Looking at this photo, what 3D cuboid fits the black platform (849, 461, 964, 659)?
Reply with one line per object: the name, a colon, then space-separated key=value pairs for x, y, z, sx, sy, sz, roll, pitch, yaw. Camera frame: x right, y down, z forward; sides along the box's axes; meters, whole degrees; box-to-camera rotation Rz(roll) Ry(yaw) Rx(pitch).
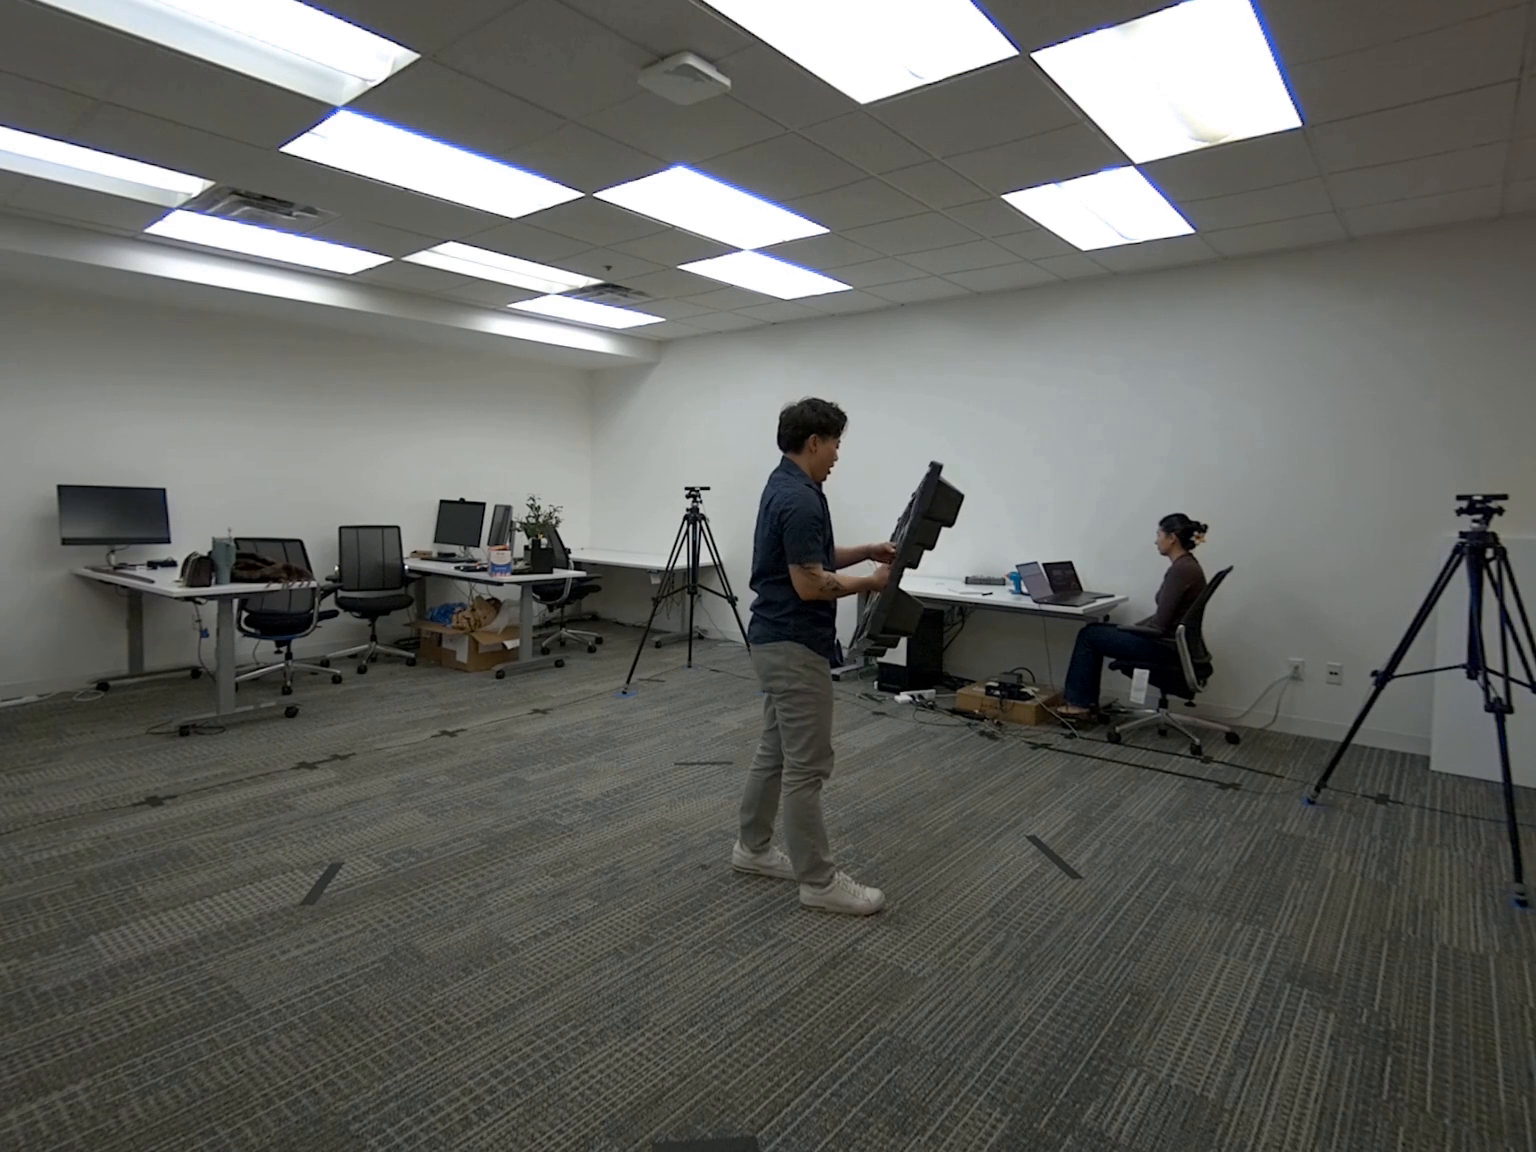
black platform: x=0.452 y=0.005 z=2.957 sx=0.144 sy=0.608 sz=0.794 roll=22 pitch=-11 yaw=4
